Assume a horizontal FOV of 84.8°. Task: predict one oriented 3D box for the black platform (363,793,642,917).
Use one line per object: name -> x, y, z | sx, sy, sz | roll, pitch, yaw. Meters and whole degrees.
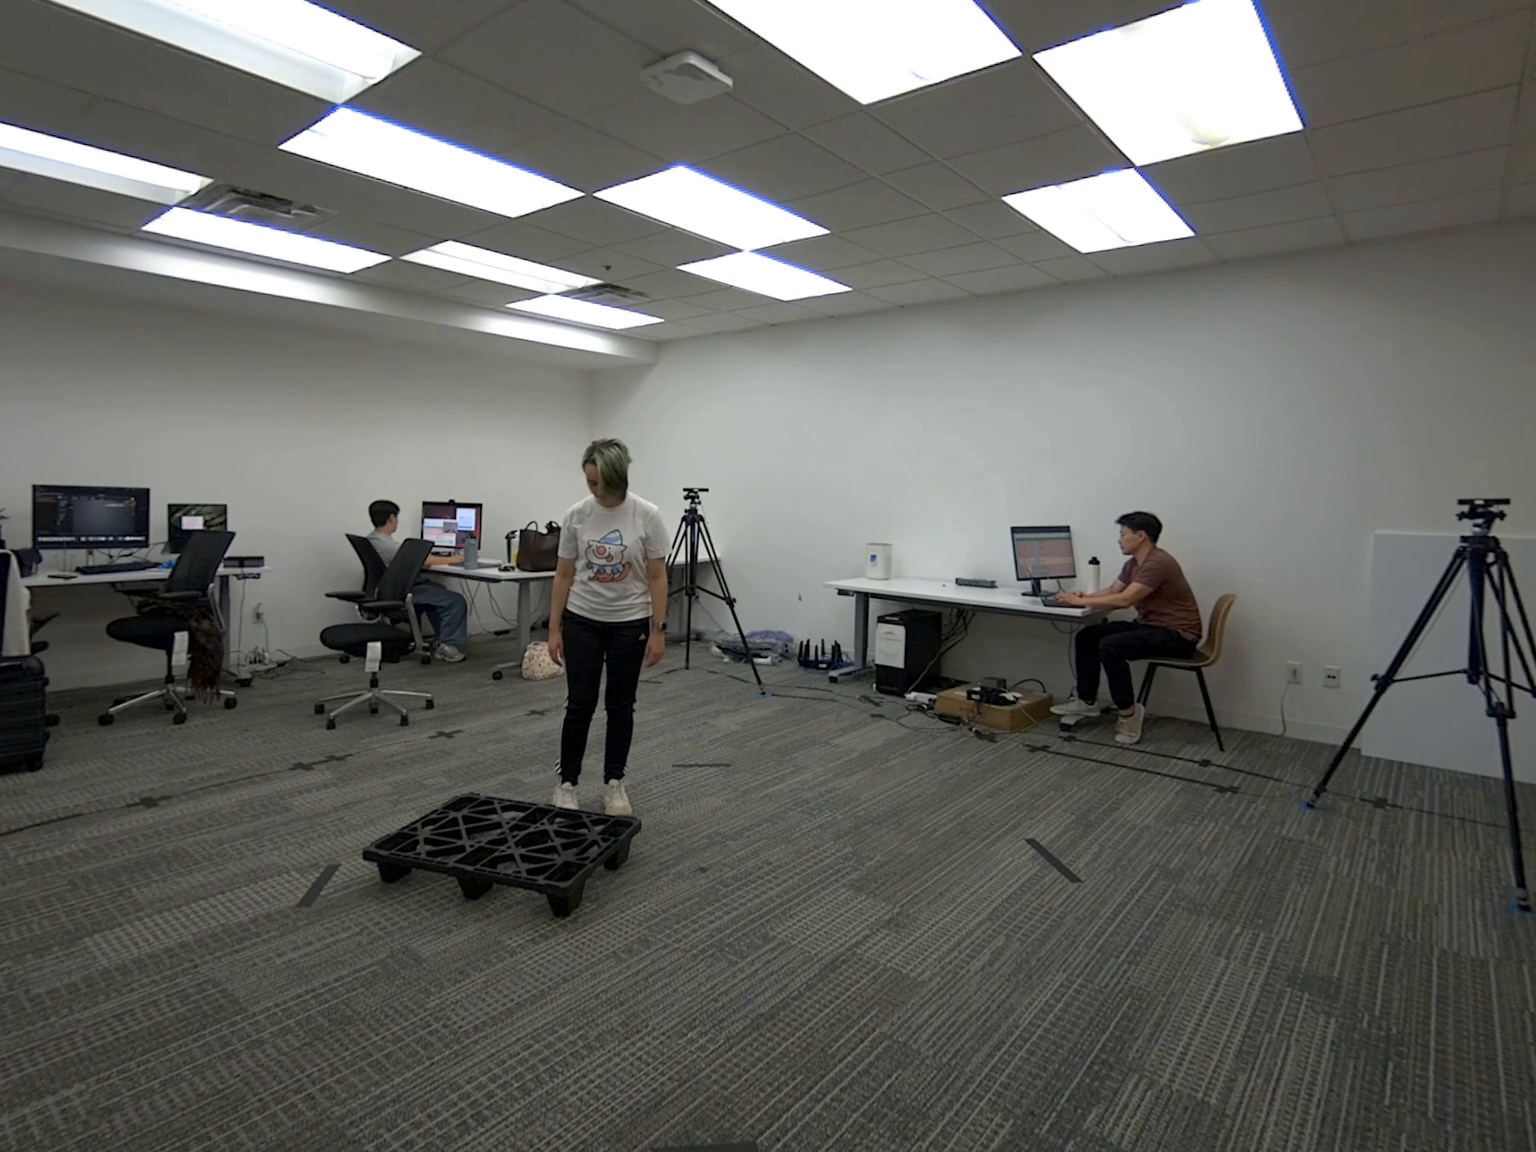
black platform -> -0.945, 0.991, 3.072 | 0.821, 0.142, 0.596 | 3, 7, 17
